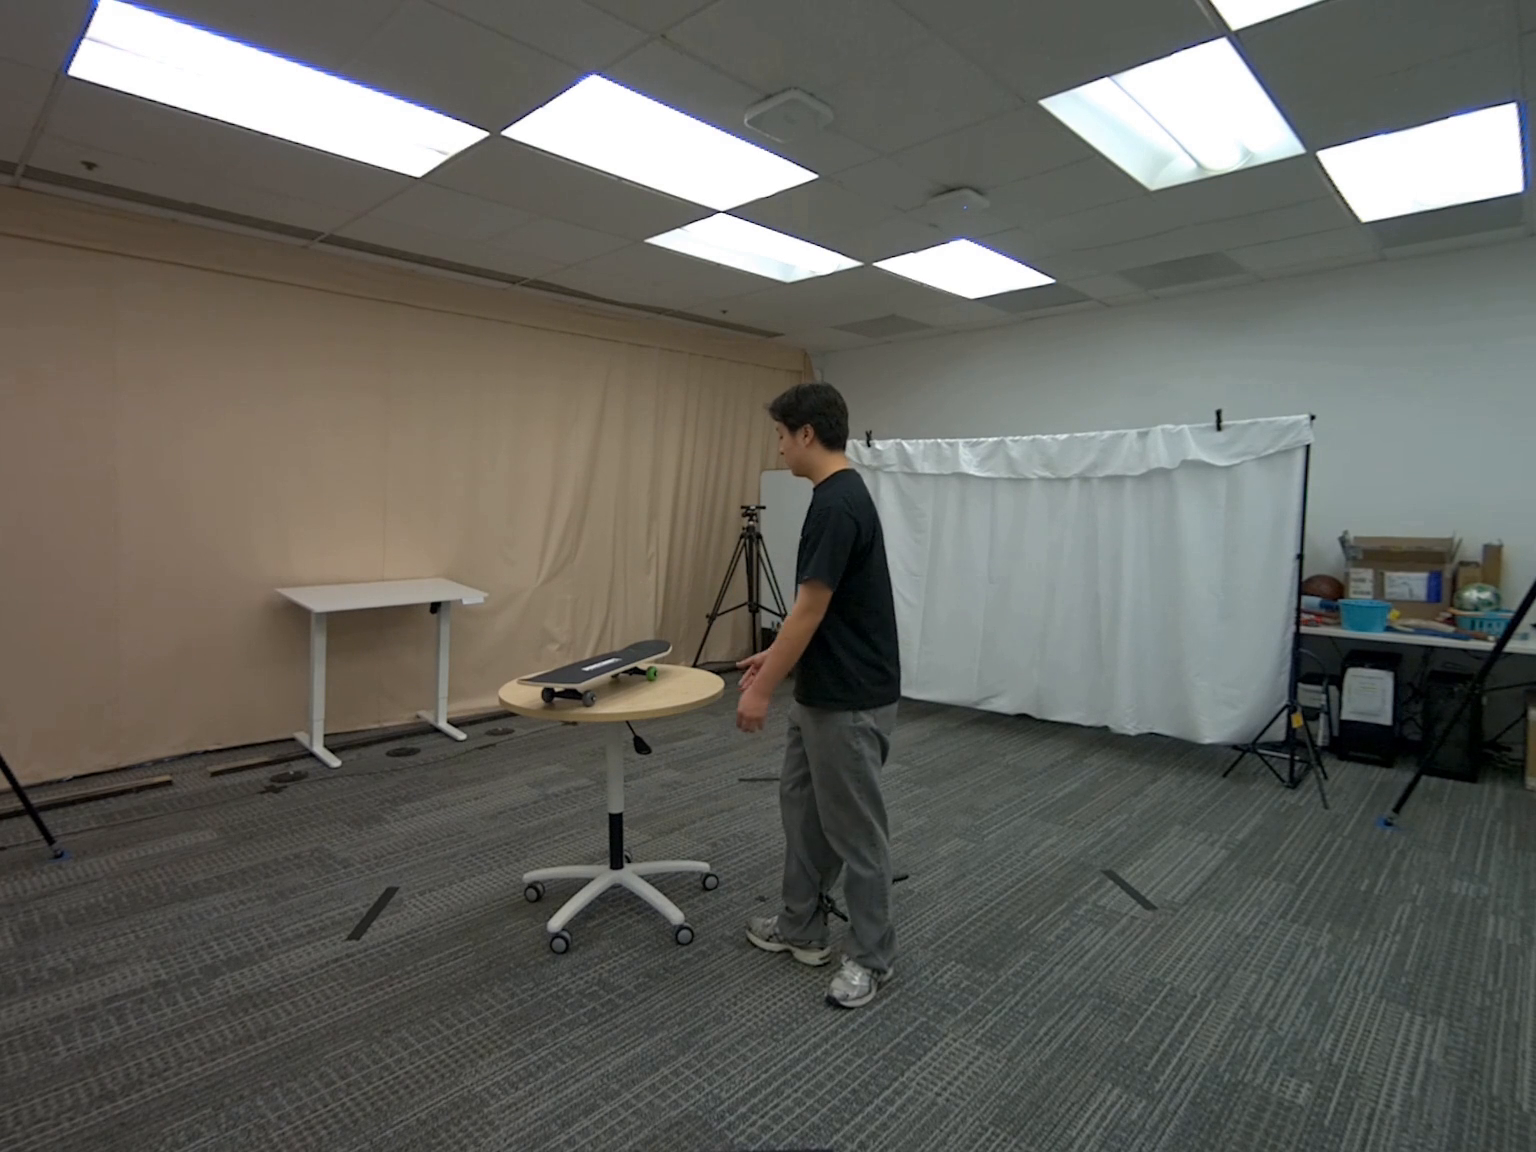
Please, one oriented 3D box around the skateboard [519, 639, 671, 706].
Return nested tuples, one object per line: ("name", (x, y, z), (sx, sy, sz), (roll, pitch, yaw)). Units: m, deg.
("skateboard", (-0.555, 0.341, 2.800), (0.198, 0.110, 0.769), (0, 5, 23))
